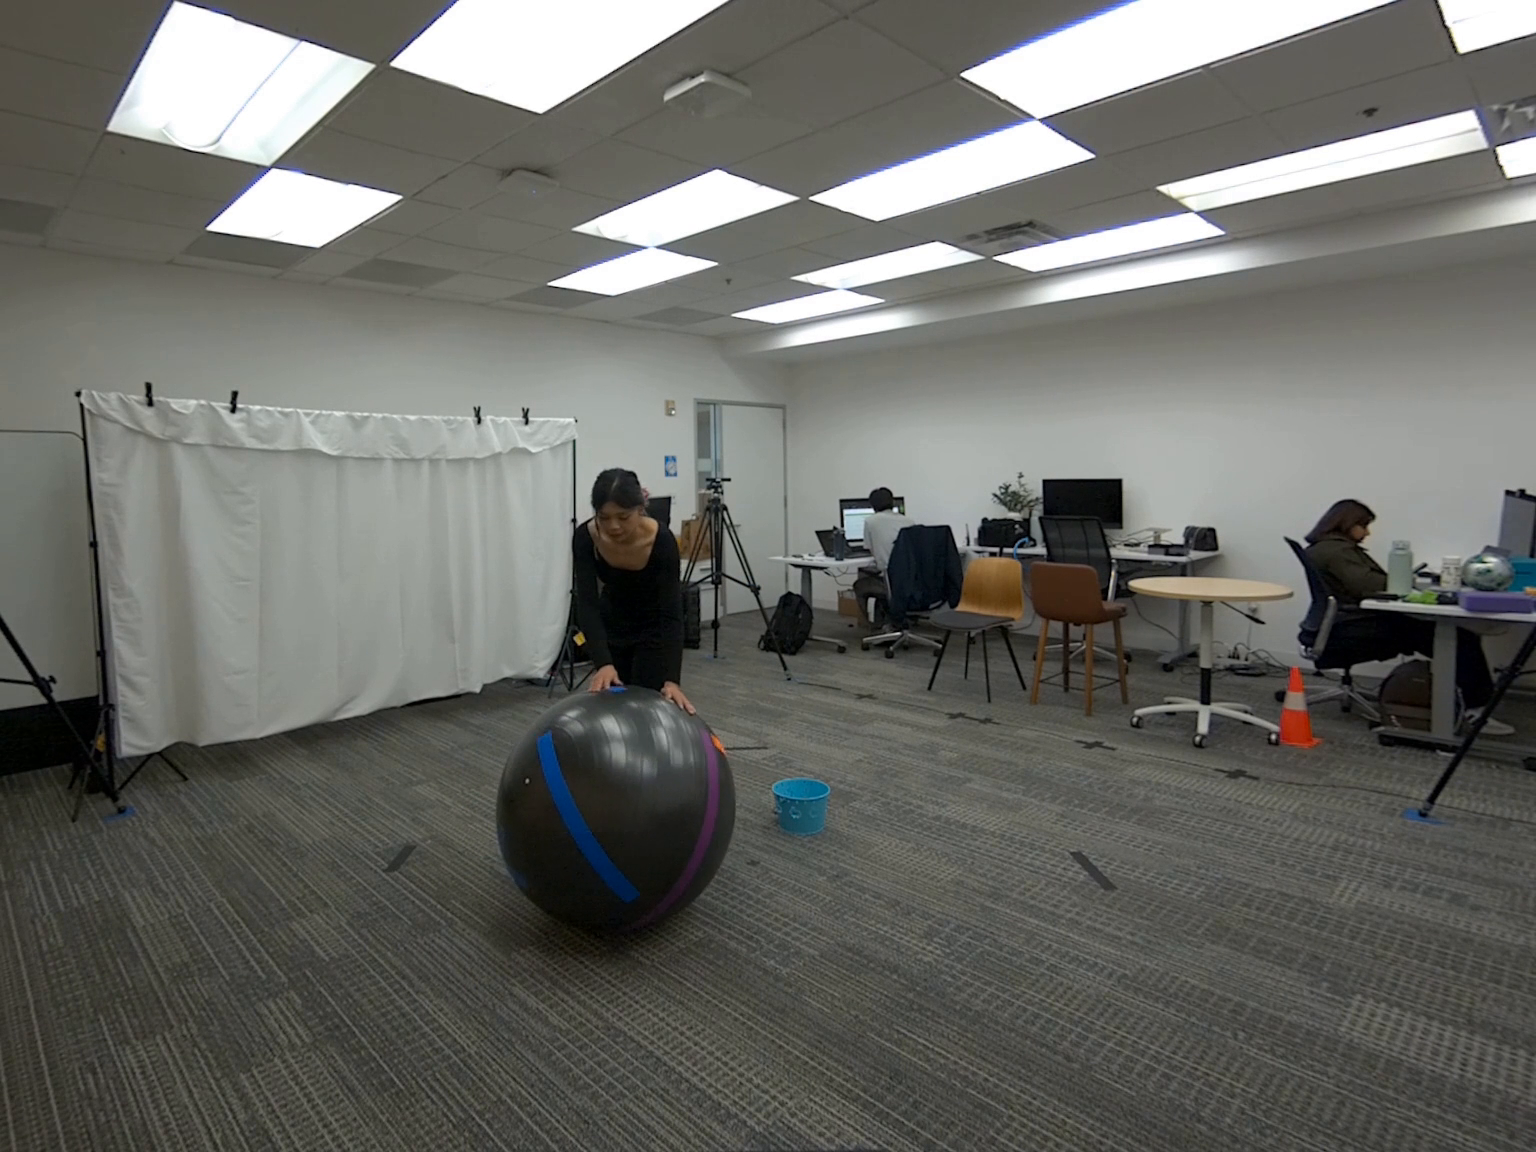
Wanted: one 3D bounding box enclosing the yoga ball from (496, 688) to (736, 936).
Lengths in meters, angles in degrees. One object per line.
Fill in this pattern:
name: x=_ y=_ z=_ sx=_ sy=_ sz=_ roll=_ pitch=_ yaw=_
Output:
yoga ball: x=-0.481 y=0.732 z=2.732 sx=0.757 sy=0.755 sz=0.762 roll=-1 pitch=5 yaw=-2
